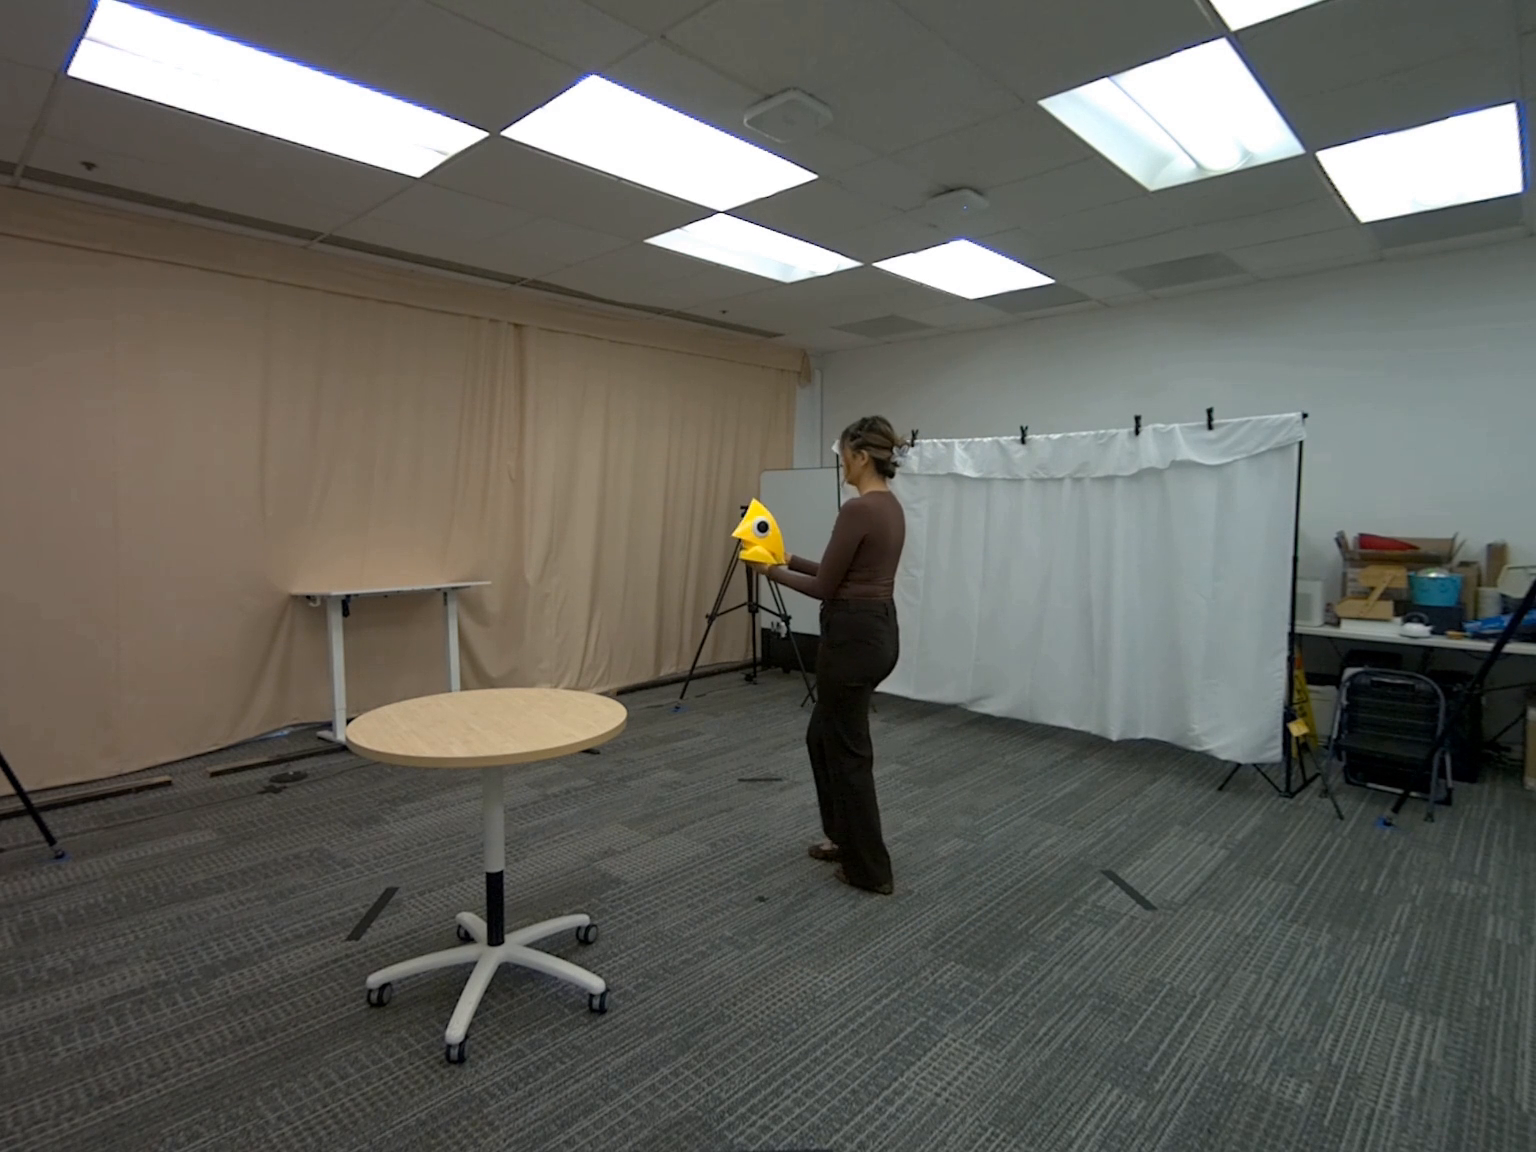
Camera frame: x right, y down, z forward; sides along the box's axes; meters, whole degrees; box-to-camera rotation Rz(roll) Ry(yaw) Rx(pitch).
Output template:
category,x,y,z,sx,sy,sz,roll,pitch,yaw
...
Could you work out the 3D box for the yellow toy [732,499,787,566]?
category,x,y,z,sx,sy,sz,roll,pitch,yaw
yellow toy,-0.014,-0.171,3.221,0.197,0.230,0.201,10,3,18
